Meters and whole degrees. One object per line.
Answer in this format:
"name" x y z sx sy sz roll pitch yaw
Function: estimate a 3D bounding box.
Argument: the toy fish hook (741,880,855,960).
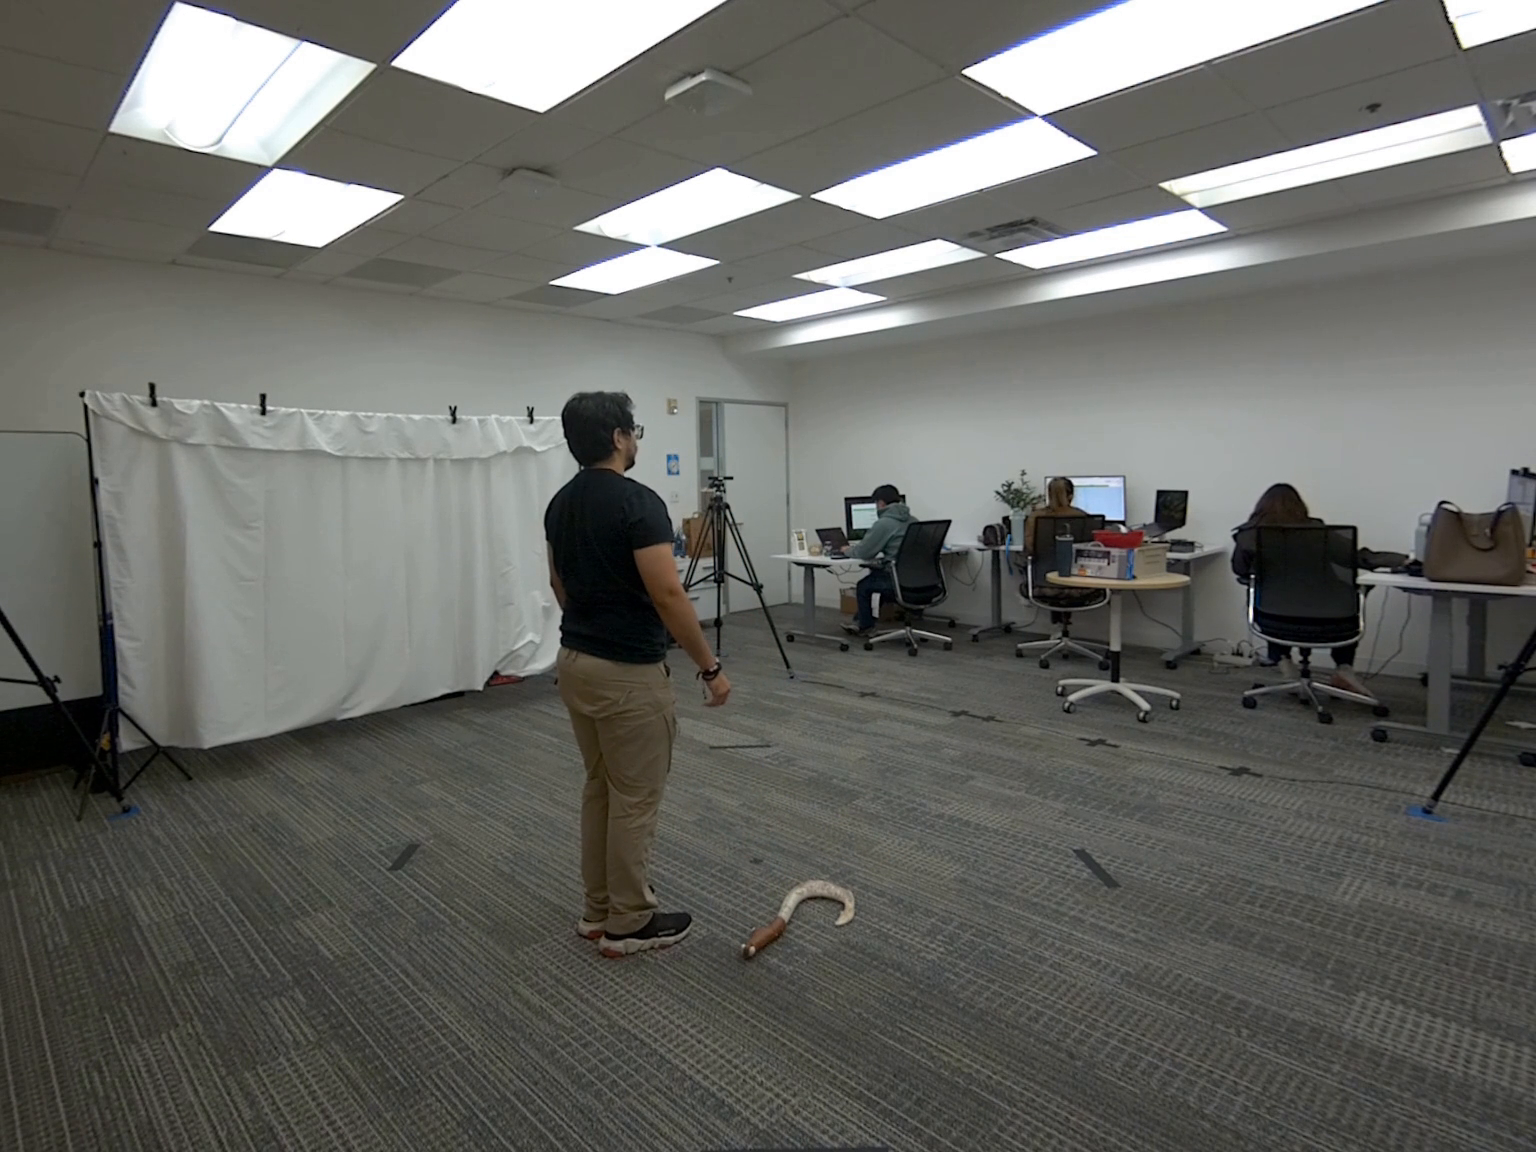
"toy fish hook" 0.110 1.068 2.645 0.231 0.048 0.495 2 8 32
